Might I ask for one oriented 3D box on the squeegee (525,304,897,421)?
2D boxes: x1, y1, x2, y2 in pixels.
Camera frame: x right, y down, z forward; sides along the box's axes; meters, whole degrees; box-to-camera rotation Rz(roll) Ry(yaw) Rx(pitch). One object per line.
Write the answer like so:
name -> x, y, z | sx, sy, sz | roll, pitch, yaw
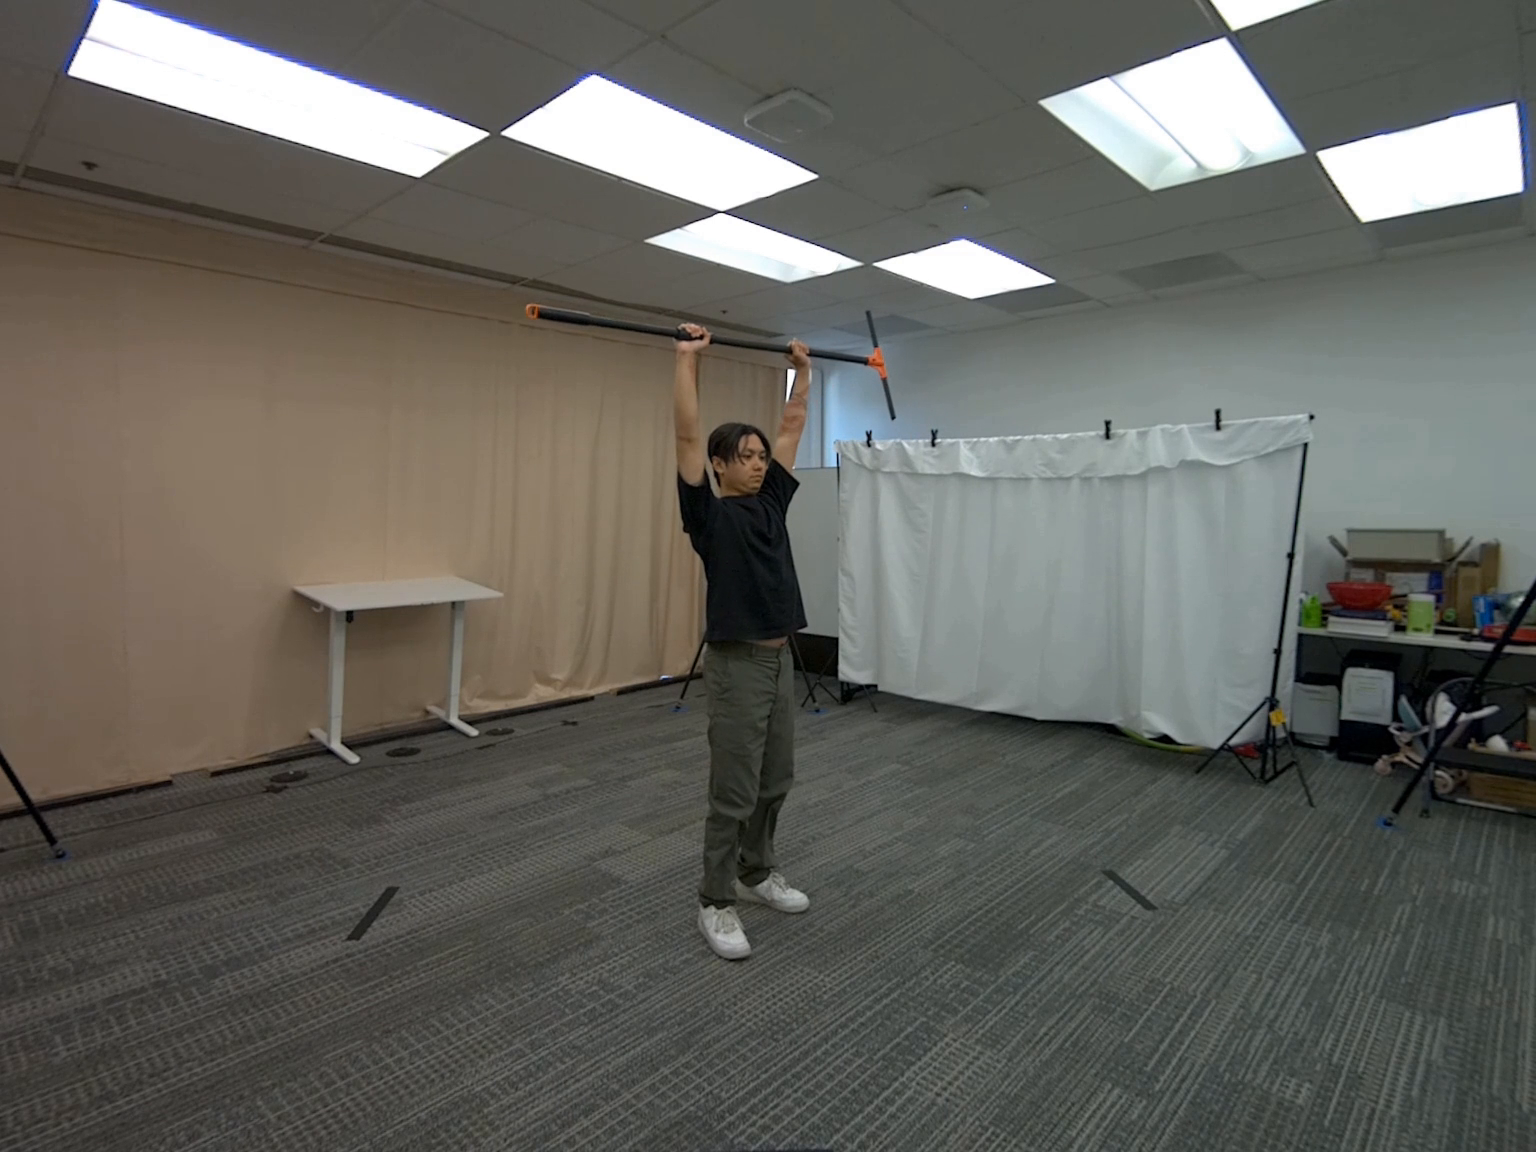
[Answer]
squeegee -> -0.077, -0.745, 2.701 | 1.491, 0.439, 0.054 | -6, -6, -44
